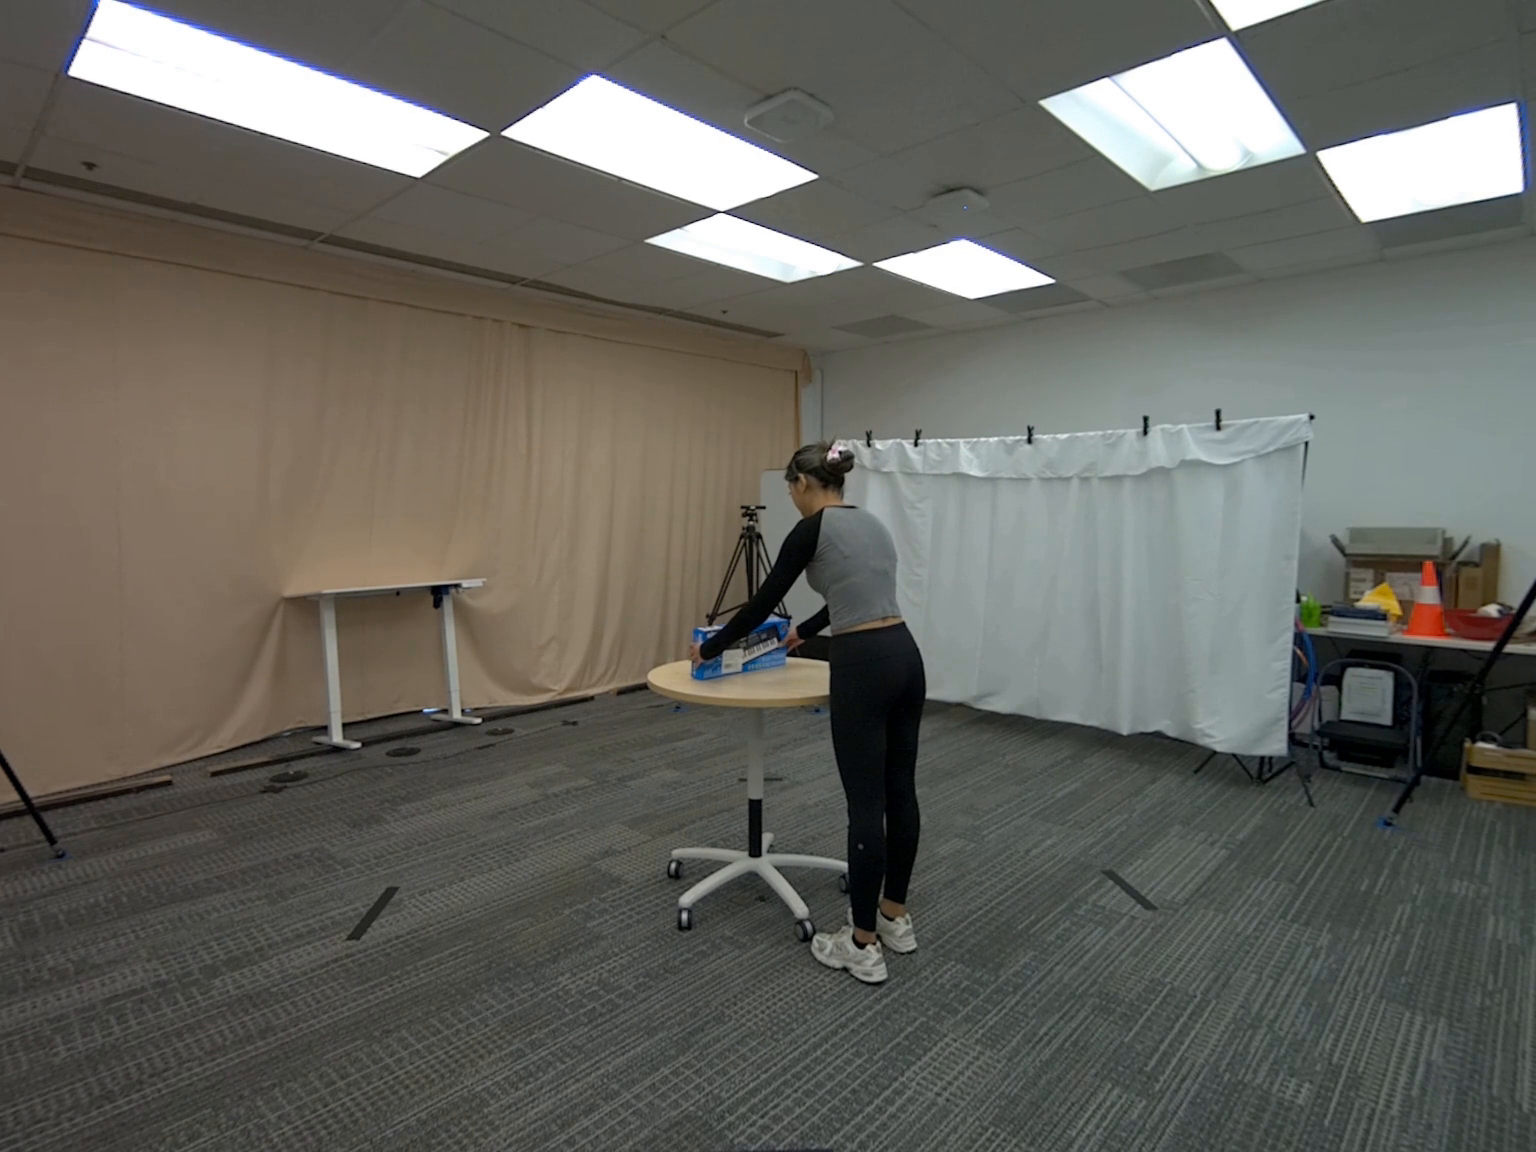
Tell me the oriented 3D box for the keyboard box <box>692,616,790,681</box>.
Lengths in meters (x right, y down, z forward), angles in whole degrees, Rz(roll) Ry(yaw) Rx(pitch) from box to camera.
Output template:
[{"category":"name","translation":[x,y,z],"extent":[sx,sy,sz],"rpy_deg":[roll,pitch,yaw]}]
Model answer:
[{"category":"keyboard box","translation":[-0.091,0.260,3.046],"extent":[0.061,0.175,0.423],"rpy_deg":[7,8,44]}]
